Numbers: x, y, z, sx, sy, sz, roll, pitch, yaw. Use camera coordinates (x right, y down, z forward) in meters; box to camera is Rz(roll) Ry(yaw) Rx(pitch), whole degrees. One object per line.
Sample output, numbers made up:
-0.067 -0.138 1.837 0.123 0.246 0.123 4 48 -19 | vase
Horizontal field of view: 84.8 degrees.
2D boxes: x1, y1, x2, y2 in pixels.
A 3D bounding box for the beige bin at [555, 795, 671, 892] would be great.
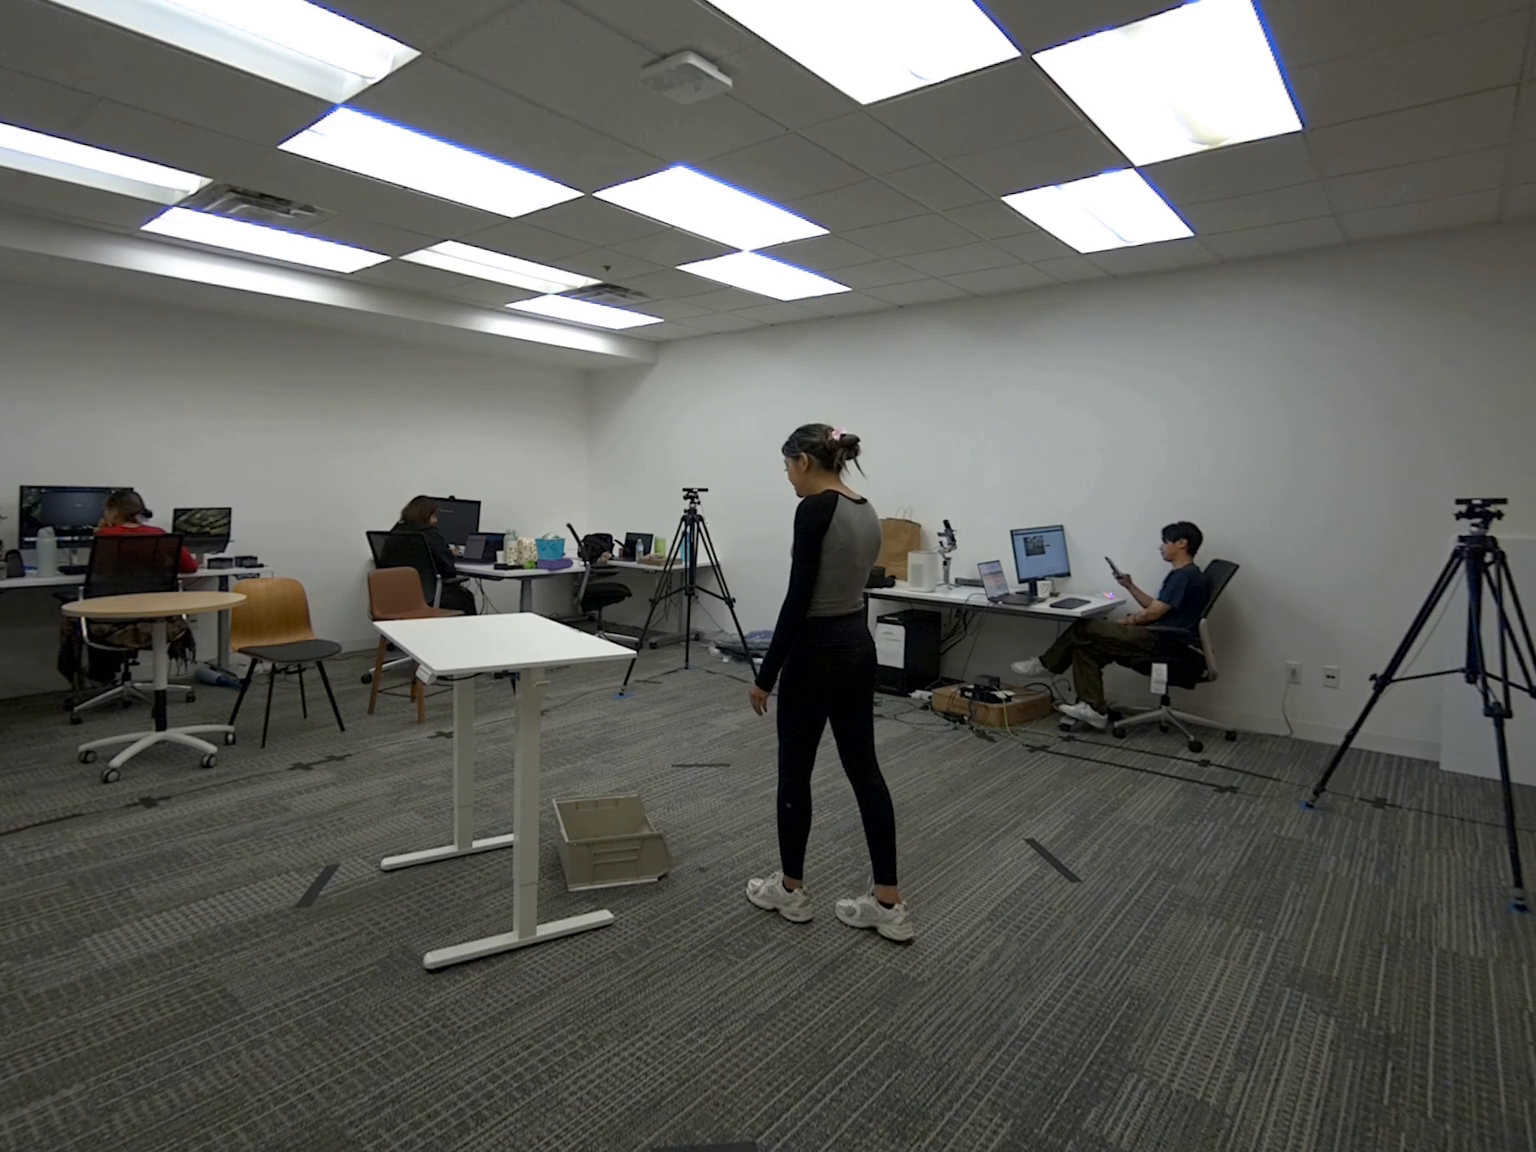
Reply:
-0.597 0.968 3.152 0.370 0.188 0.433 -2 7 -20 | beige bin
